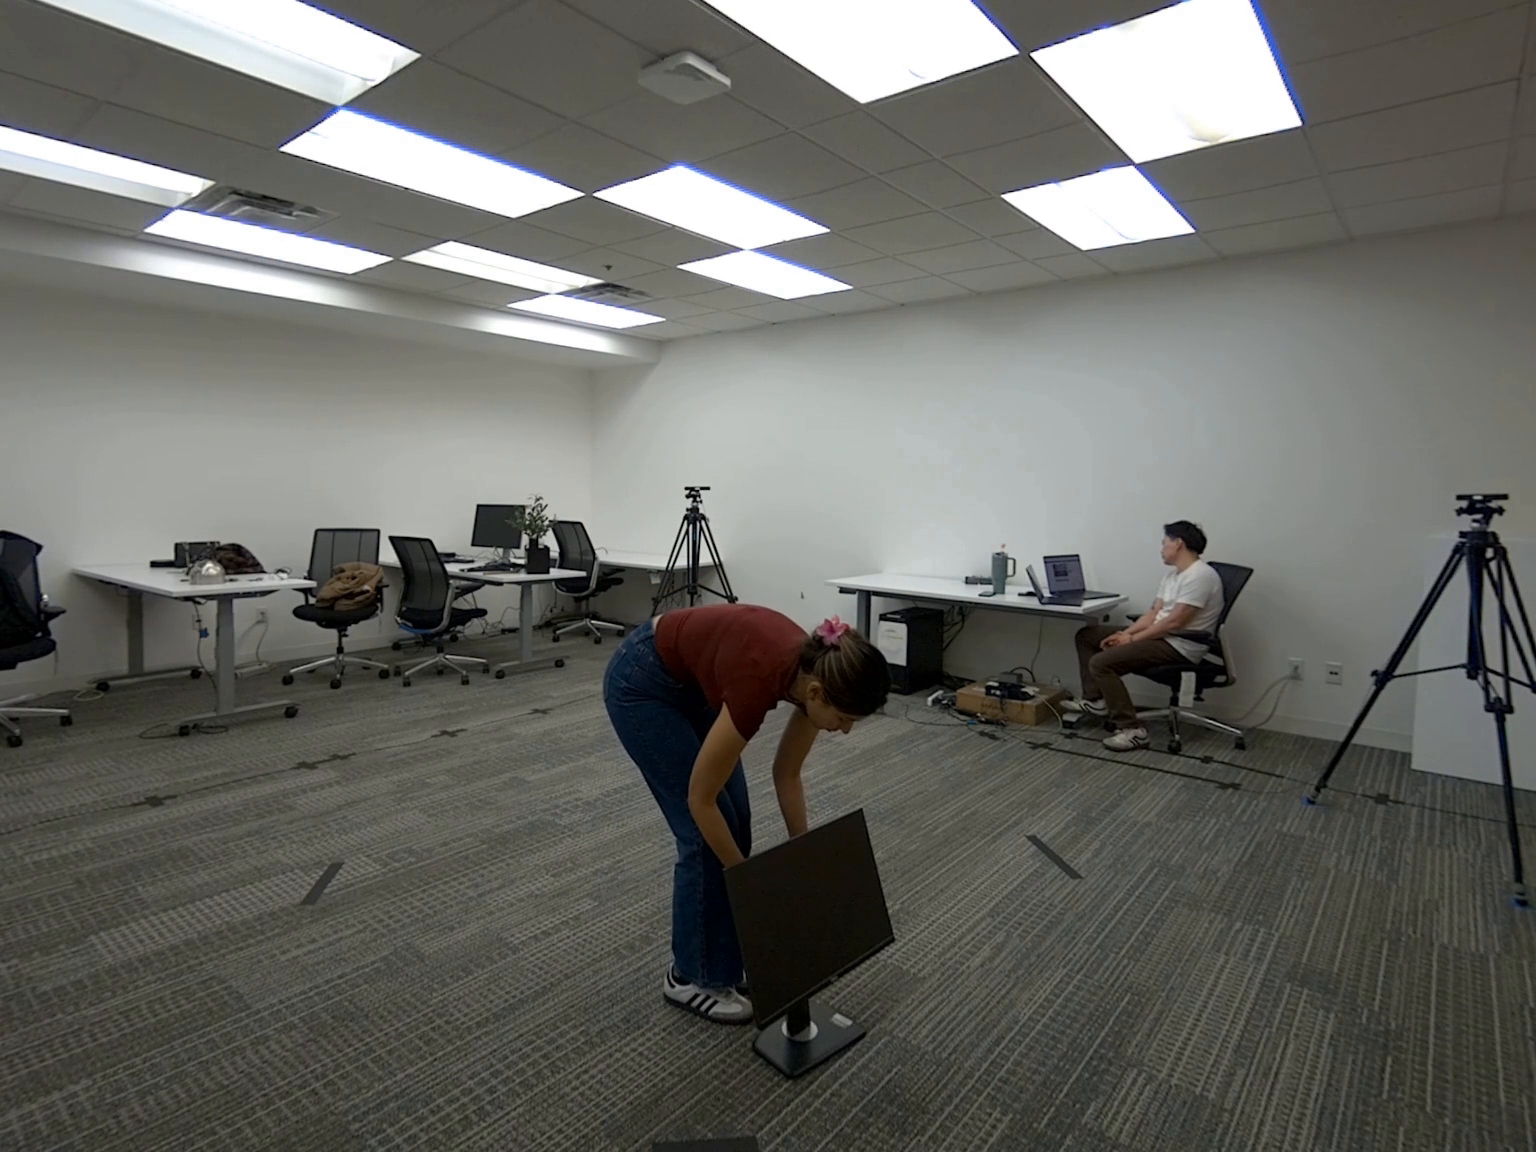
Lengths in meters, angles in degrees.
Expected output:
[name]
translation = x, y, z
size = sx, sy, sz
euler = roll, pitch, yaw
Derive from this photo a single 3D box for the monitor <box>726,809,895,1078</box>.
[monitor]
translation = 0.098, 0.917, 2.136
size = 0.193, 0.521, 0.523
euler = 2, 4, 43
